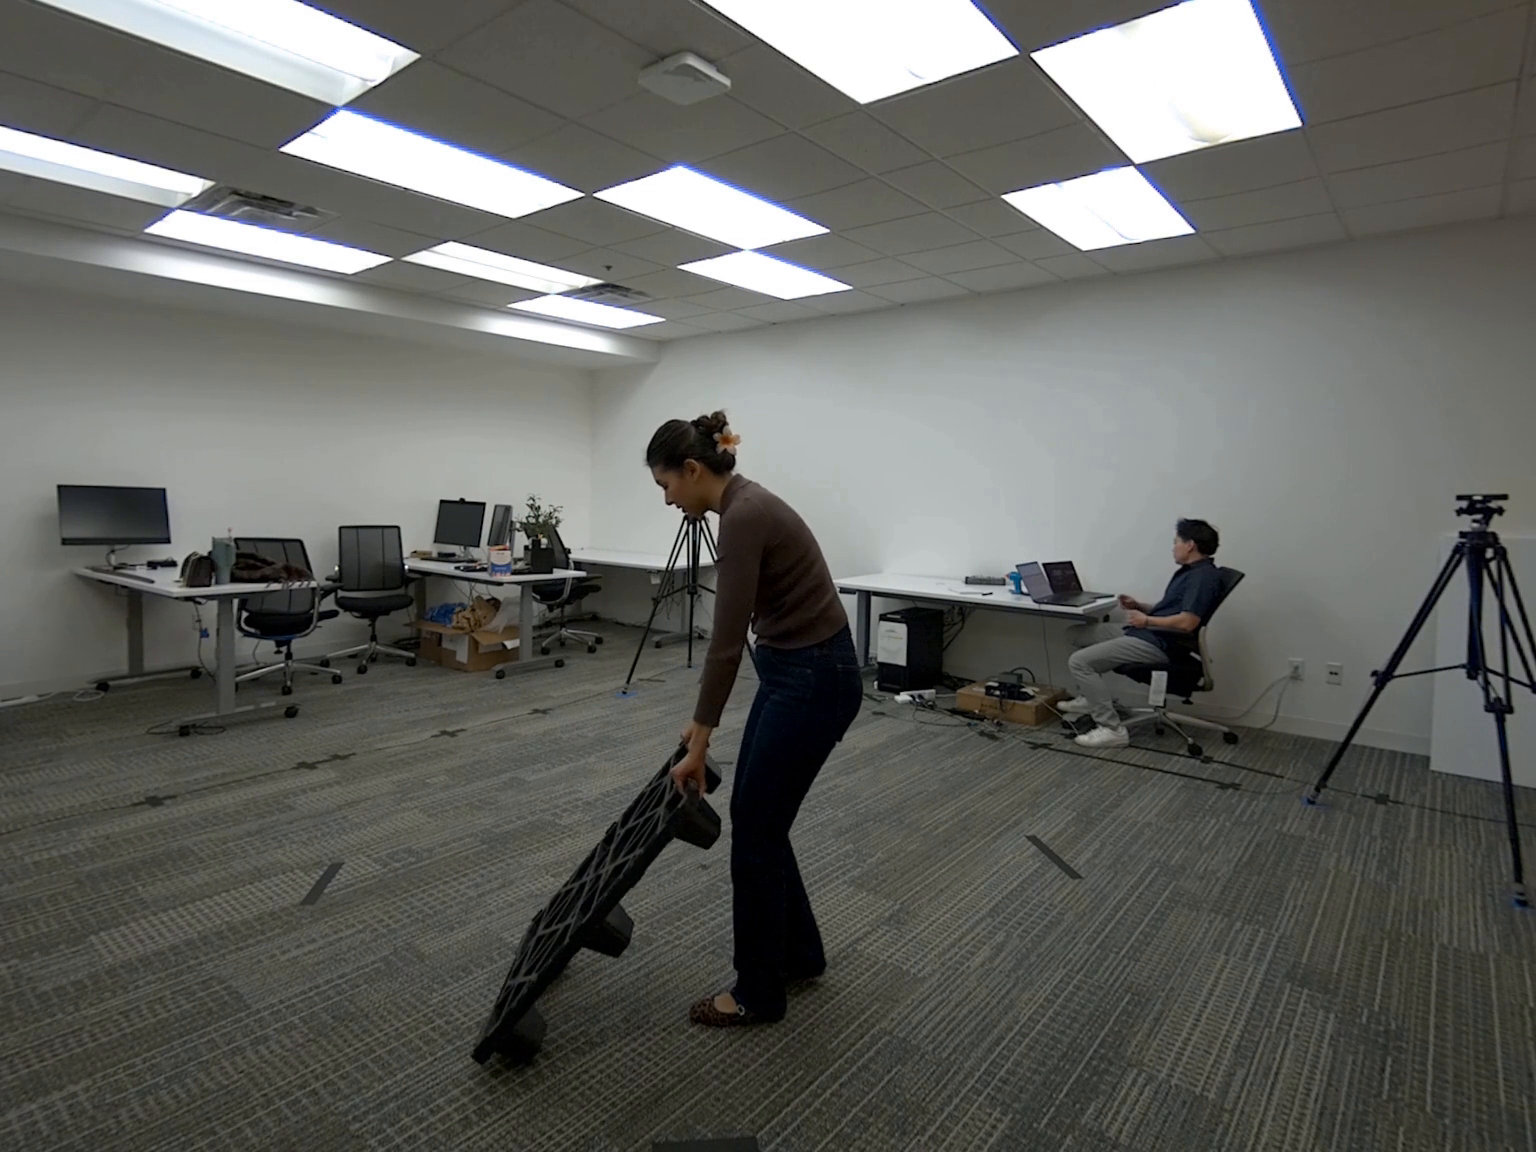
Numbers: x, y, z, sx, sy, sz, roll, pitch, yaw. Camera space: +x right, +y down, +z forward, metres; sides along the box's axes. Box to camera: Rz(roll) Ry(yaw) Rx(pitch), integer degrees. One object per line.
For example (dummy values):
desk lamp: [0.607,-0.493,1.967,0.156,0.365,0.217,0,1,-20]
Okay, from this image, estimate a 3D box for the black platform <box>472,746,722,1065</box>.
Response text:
black platform: [-0.405,0.819,2.238,0.142,0.805,0.608,39,3,-6]
